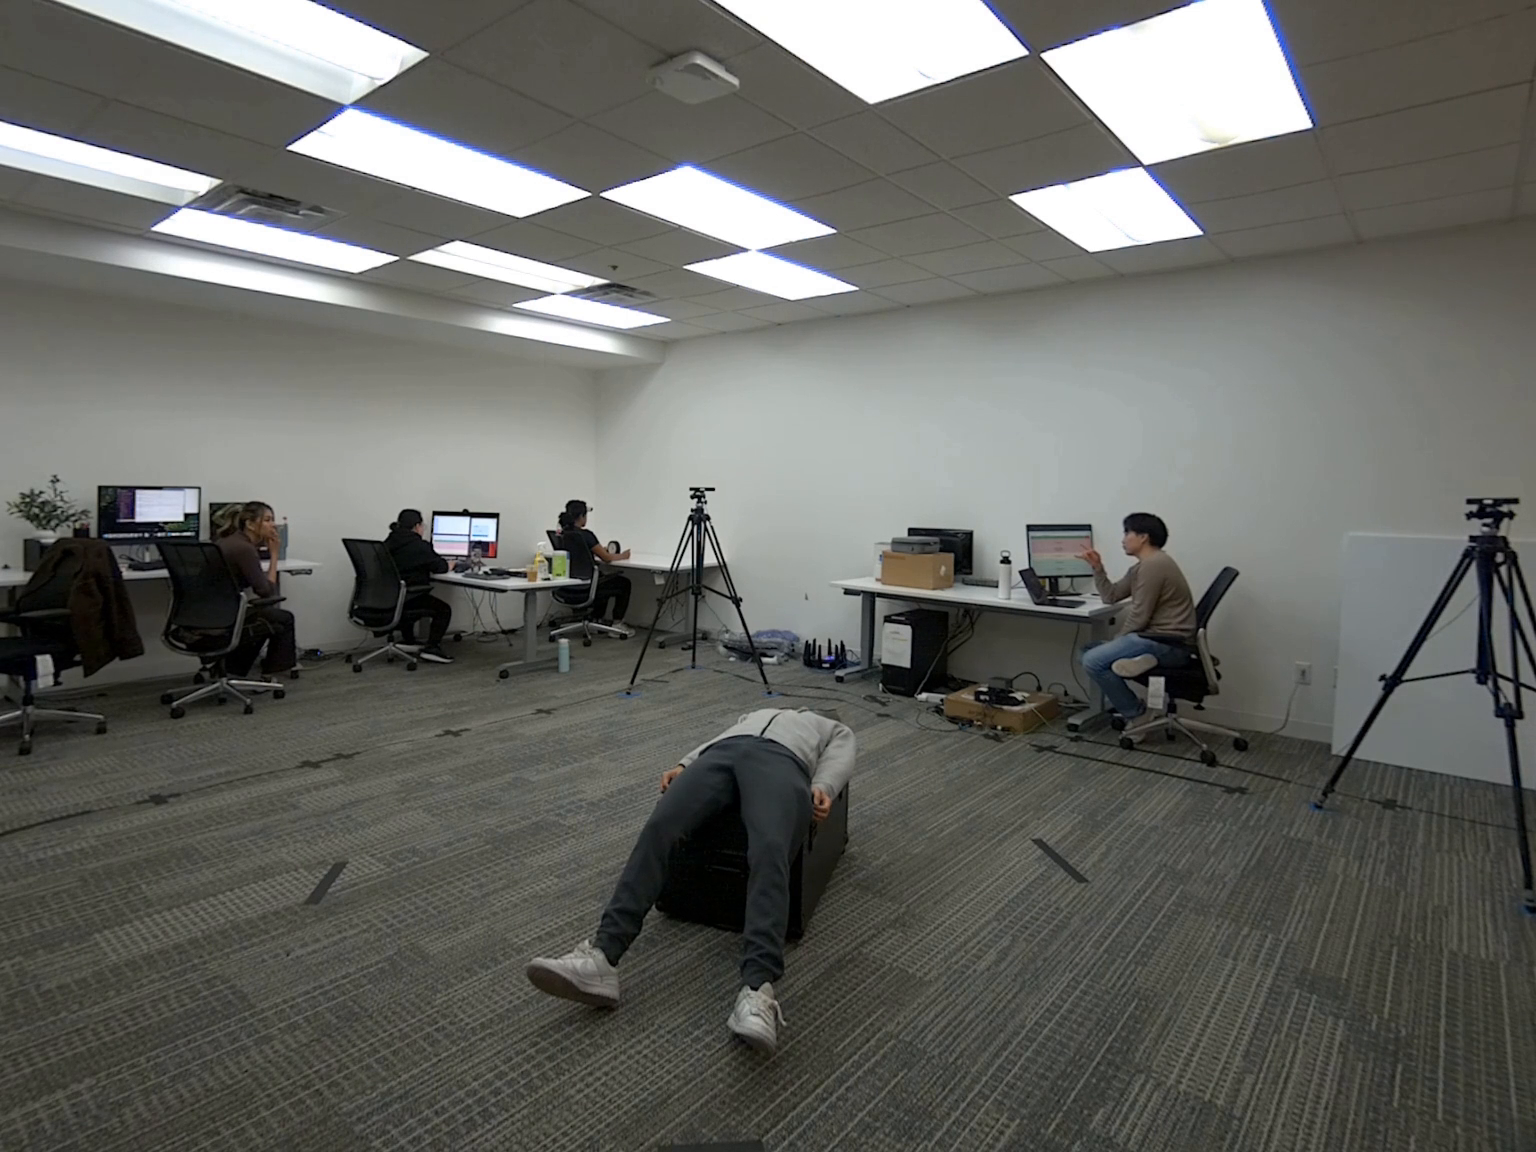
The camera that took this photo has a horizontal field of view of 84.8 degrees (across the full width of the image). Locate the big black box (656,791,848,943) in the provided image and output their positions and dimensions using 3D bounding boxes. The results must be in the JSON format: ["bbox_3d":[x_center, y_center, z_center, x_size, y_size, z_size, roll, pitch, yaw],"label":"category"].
[{"bbox_3d":[-0.044,0.896,2.993,0.532,0.395,0.847,2,4,17],"label":"big black box"}]
